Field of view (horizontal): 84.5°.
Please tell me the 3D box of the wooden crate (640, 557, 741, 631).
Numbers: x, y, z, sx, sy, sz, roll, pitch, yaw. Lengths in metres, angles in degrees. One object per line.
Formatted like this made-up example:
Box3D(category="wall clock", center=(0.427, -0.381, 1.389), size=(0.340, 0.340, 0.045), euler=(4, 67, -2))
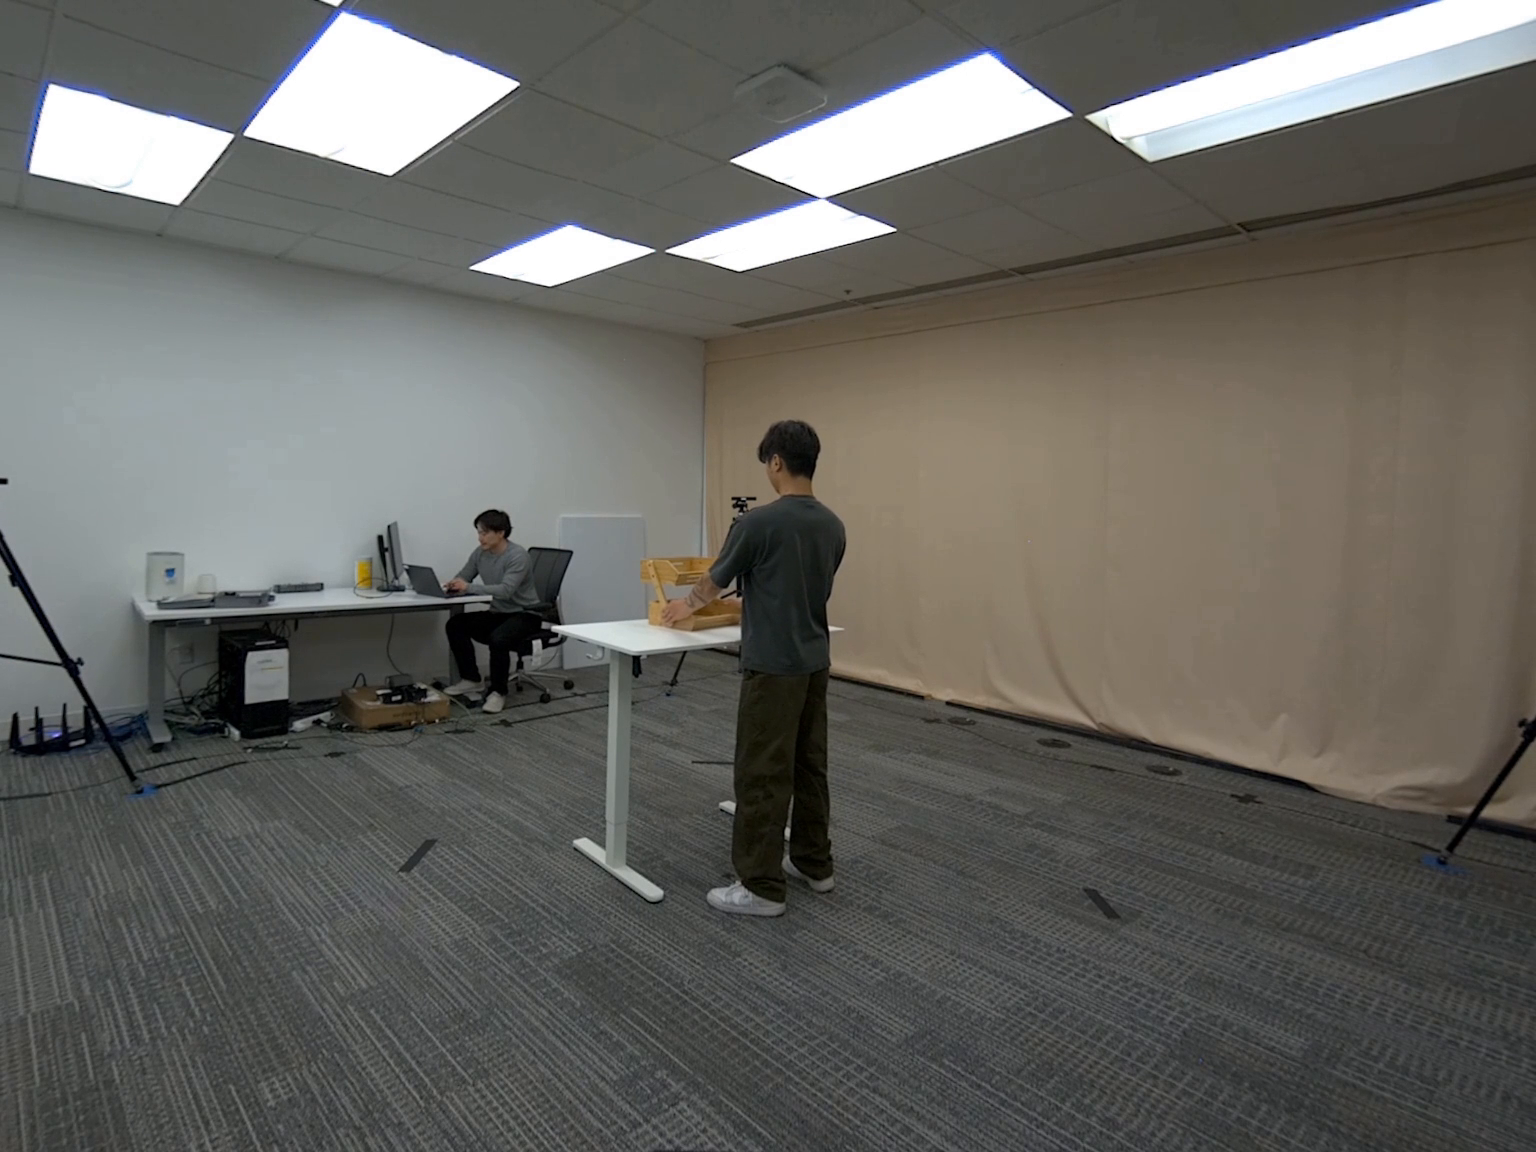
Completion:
Box3D(category="wooden crate", center=(-0.309, 0.061, 3.400), size=(0.309, 0.272, 0.317), euler=(5, 5, 37))
